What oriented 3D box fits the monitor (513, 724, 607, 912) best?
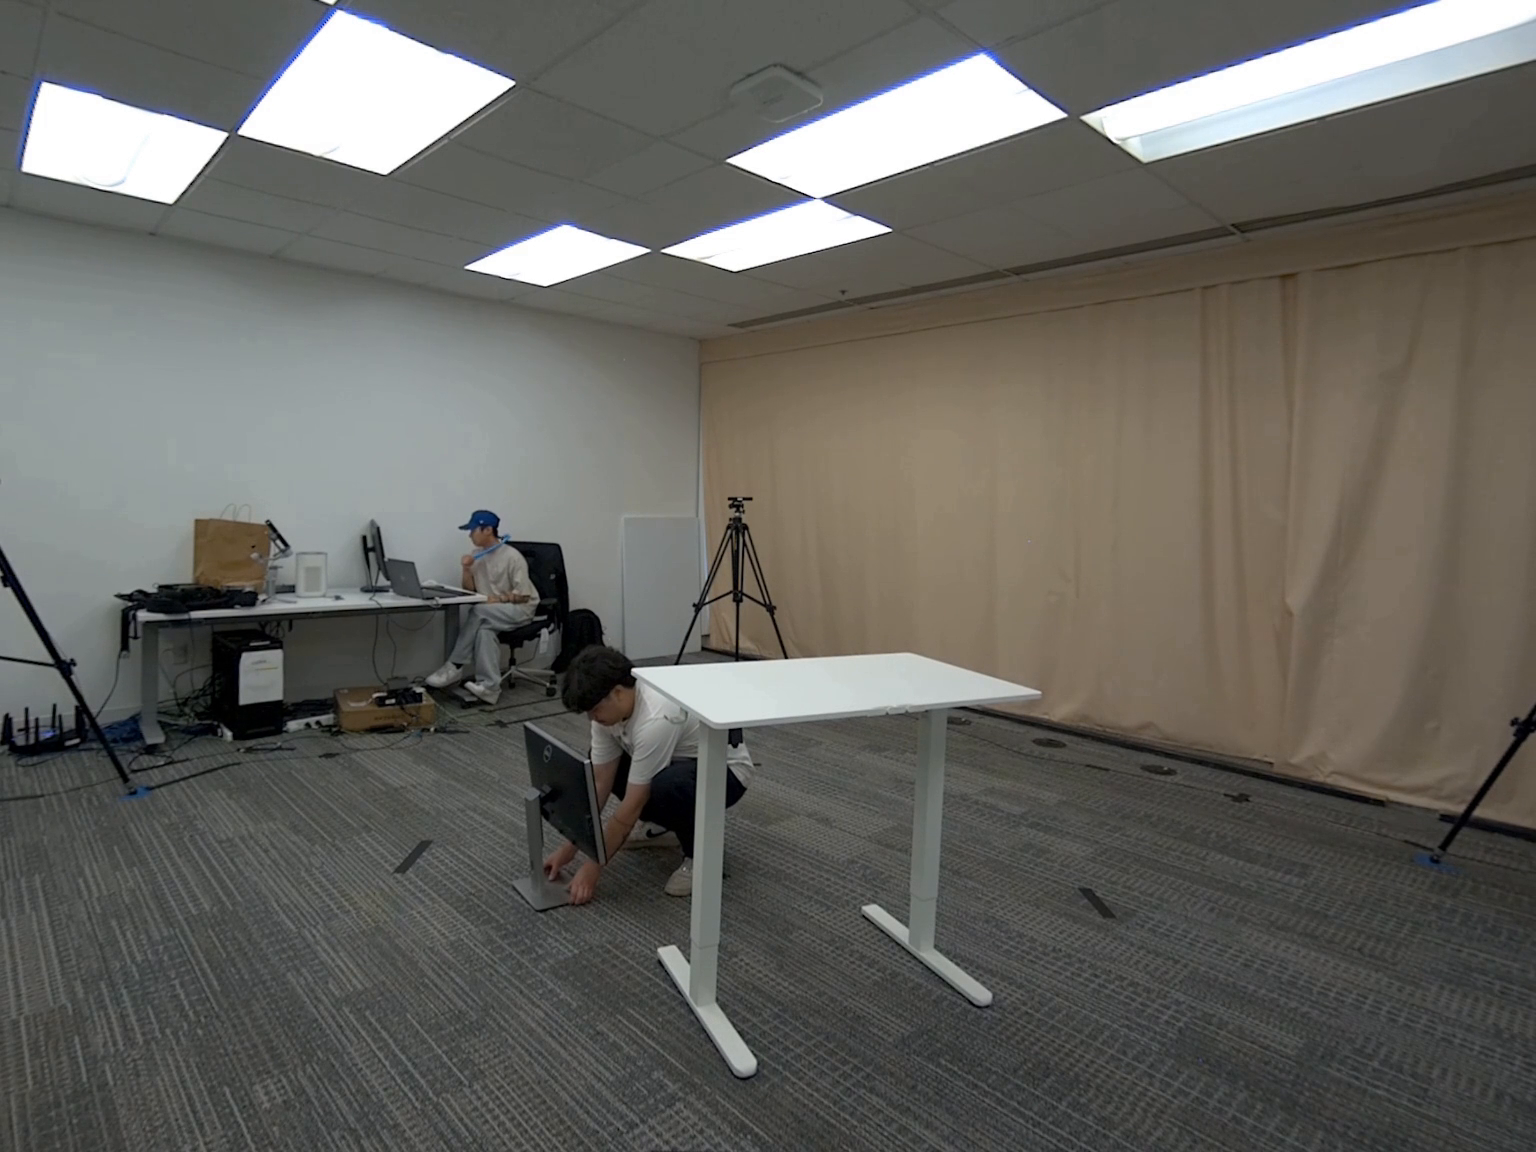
[{"bbox_3d":[-0.774,0.842,2.924,0.206,0.551,0.580,-6,9,-35],"label":"monitor"}]
